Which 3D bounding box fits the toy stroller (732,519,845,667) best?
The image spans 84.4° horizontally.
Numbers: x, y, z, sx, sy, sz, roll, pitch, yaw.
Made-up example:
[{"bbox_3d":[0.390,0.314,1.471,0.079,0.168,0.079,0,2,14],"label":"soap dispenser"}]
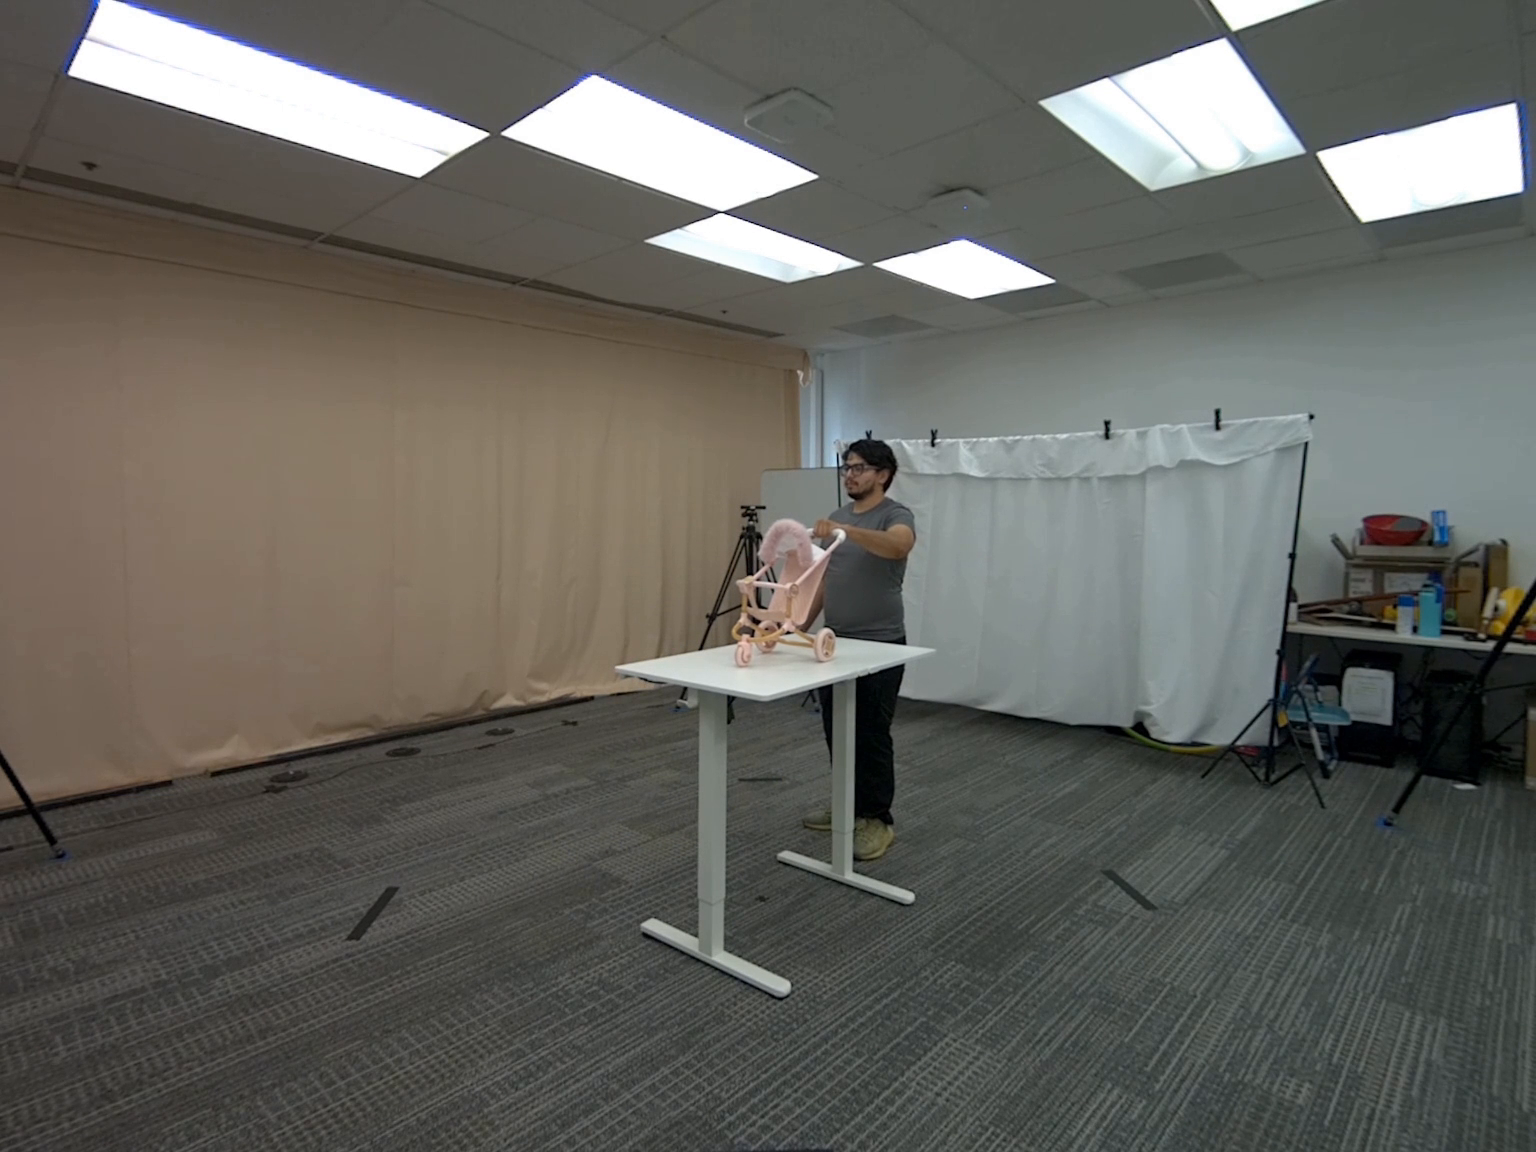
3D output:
[{"bbox_3d":[0.053,0.053,2.777,0.329,0.537,0.291,19,-11,-43],"label":"toy stroller"}]
